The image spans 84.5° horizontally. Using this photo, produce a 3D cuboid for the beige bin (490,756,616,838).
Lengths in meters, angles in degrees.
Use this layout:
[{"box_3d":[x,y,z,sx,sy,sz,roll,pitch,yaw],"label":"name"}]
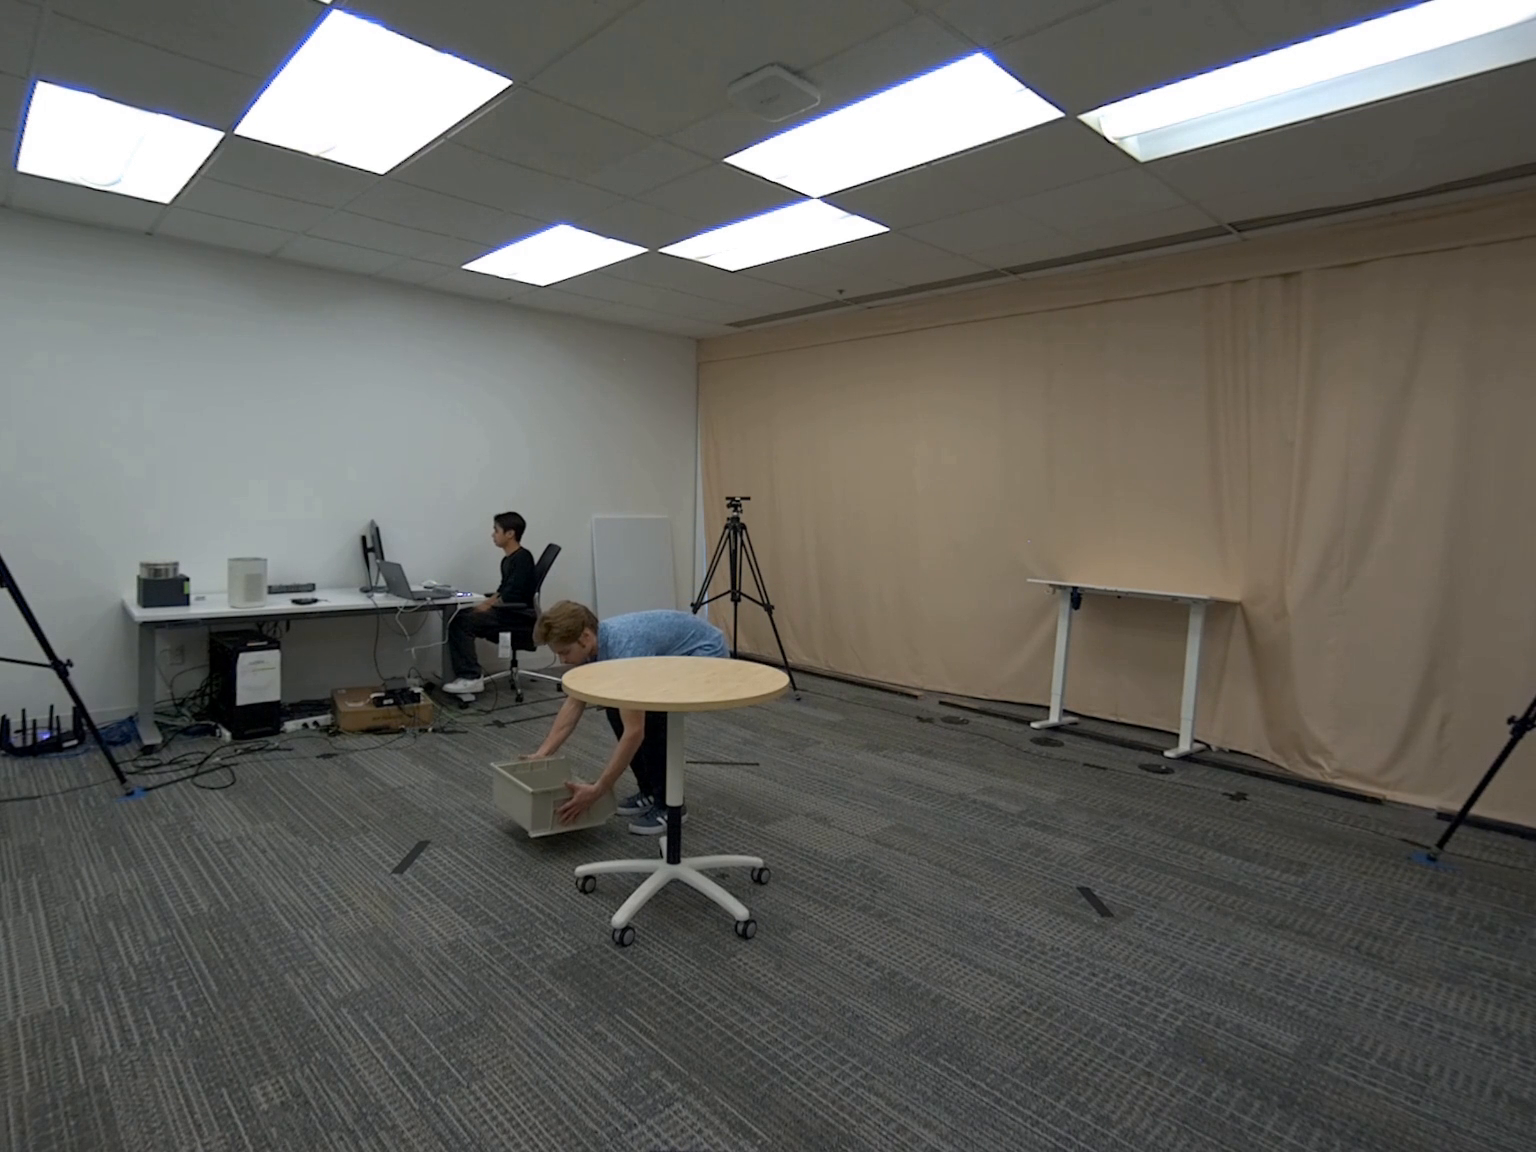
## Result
[{"box_3d":[-0.881,0.885,3.405,0.368,0.189,0.433,0,4,-39],"label":"beige bin"}]
